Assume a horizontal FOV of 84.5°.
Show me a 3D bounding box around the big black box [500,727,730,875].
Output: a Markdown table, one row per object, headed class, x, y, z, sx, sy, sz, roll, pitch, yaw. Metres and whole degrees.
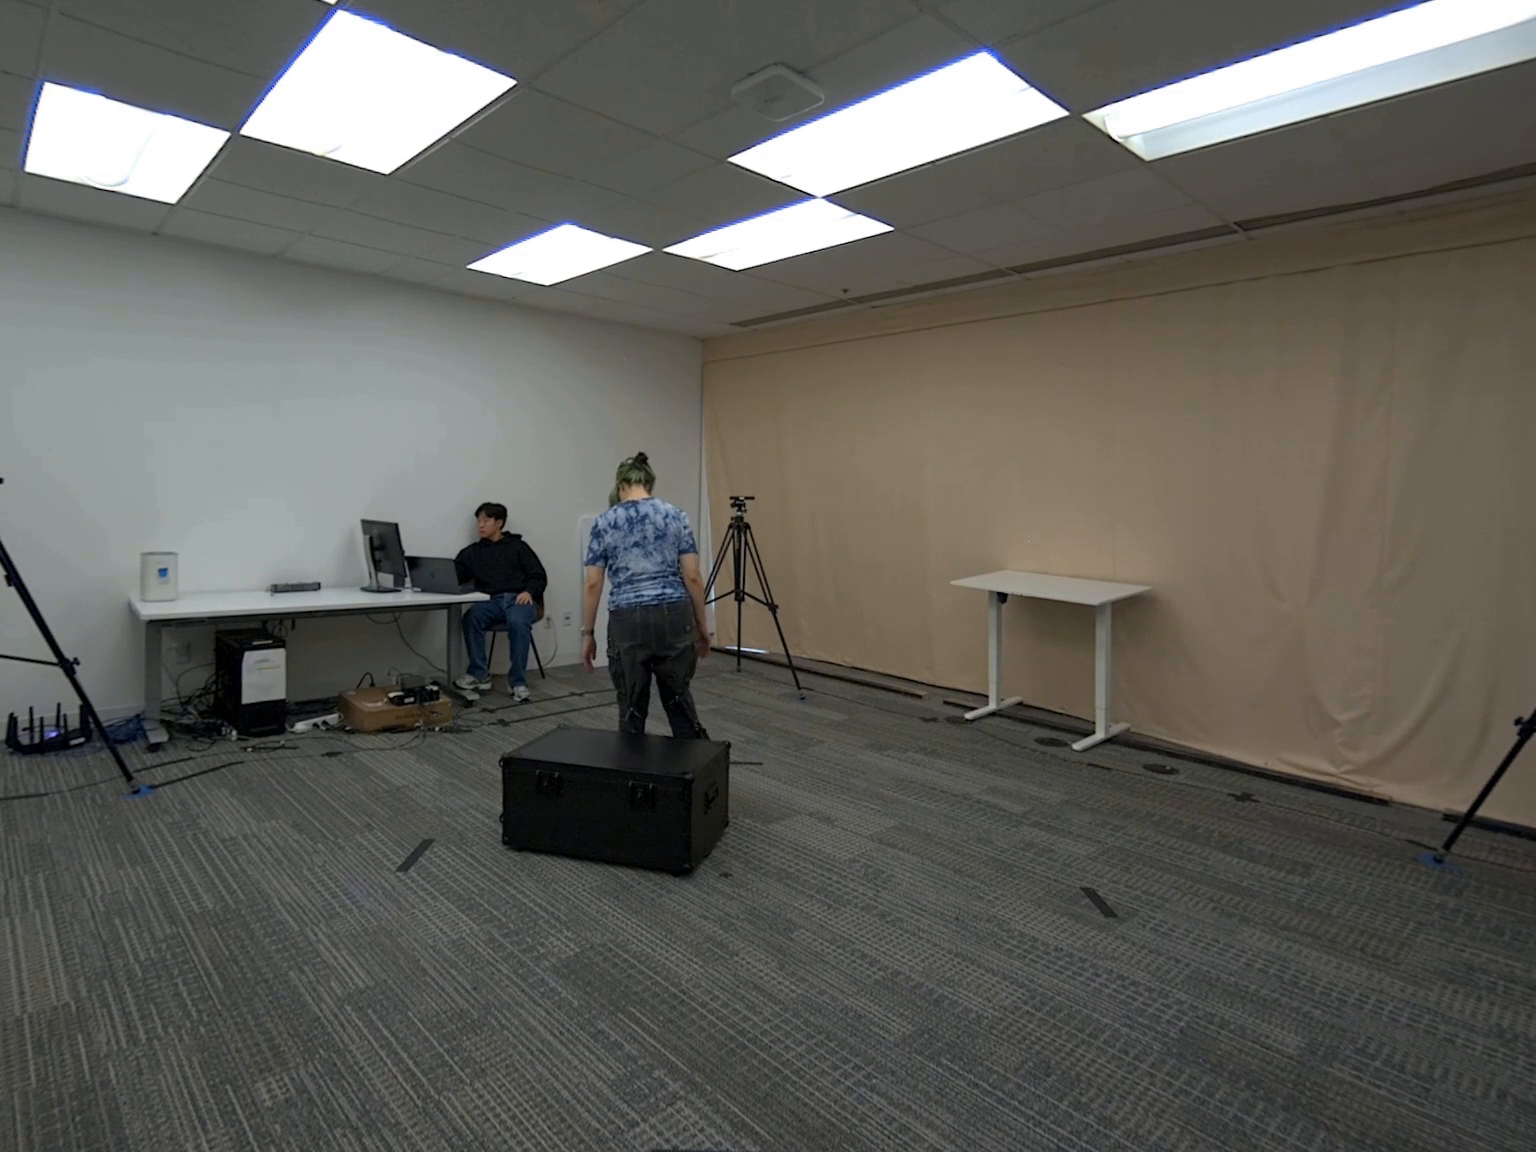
| class | x | y | z | sx | sy | sz | roll | pitch | yaw |
| --- | --- | --- | --- | --- | --- | --- | --- | --- | --- |
| big black box | -0.631 | 0.872 | 3.391 | 0.873 | 0.395 | 0.516 | 3 | 5 | 16 |
